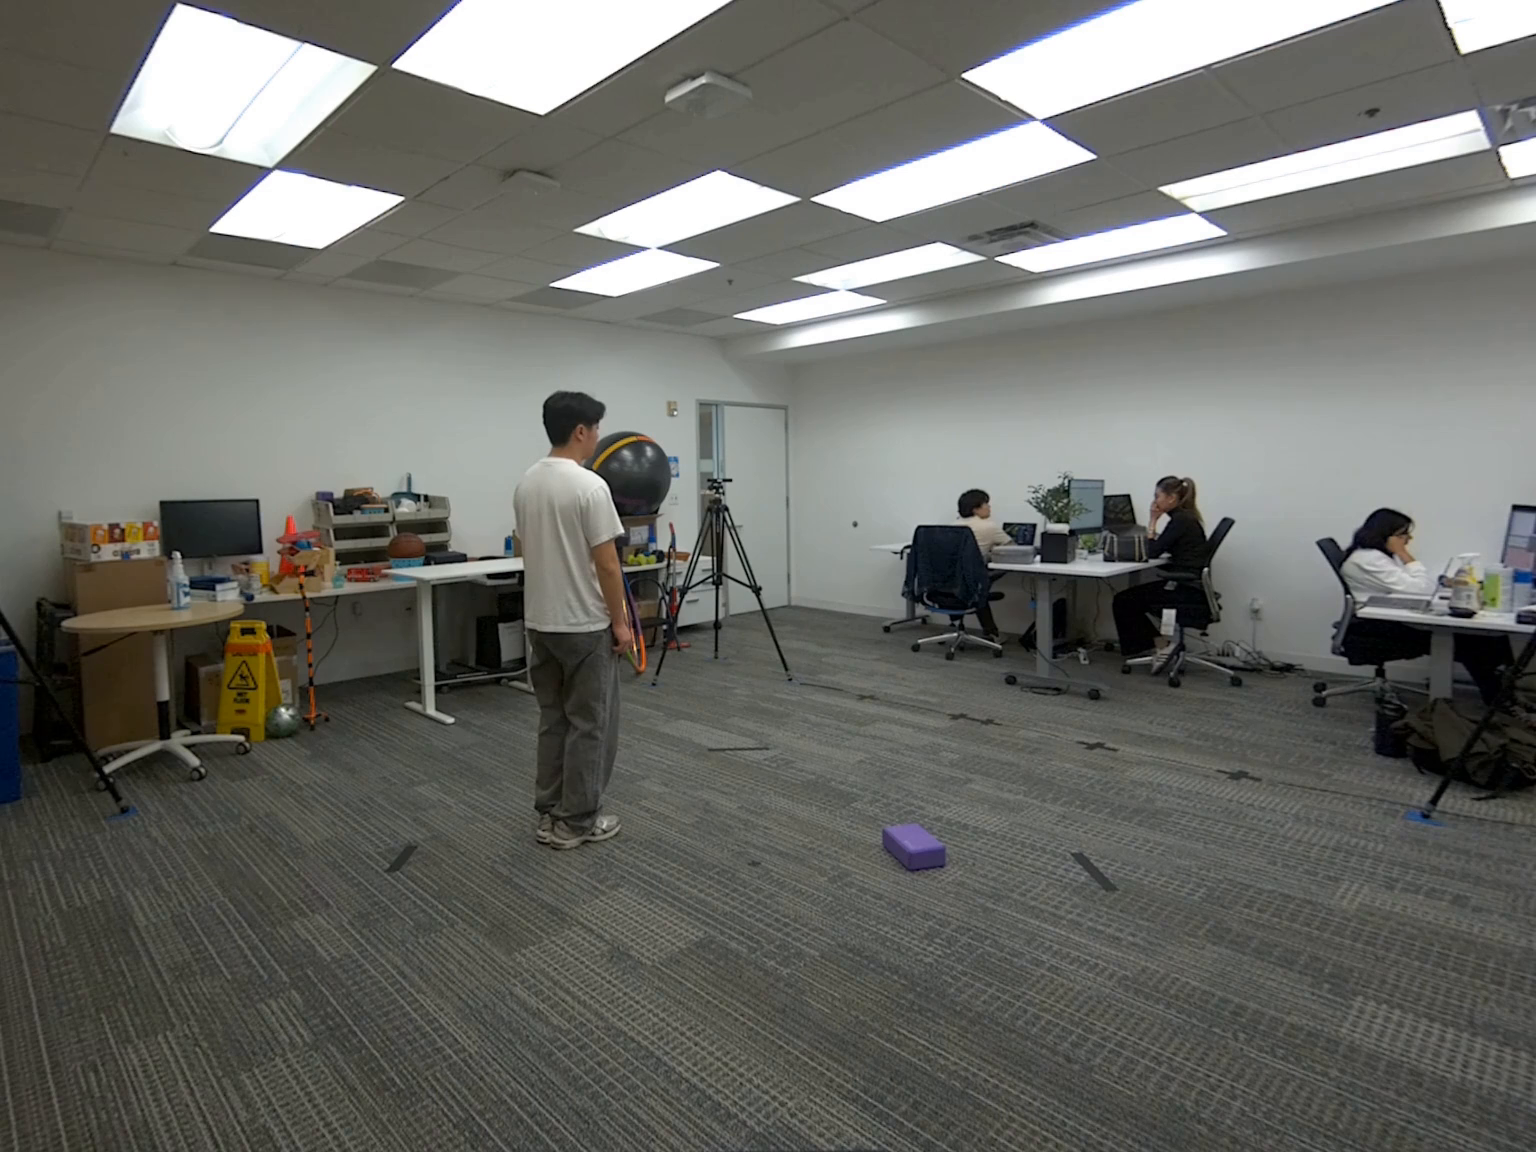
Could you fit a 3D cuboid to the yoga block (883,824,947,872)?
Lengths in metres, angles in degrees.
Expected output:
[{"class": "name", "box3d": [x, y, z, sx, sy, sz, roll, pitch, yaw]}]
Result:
[{"class": "yoga block", "box3d": [0.538, 0.993, 3.142, 0.147, 0.076, 0.233, -3, 6, -16]}]
